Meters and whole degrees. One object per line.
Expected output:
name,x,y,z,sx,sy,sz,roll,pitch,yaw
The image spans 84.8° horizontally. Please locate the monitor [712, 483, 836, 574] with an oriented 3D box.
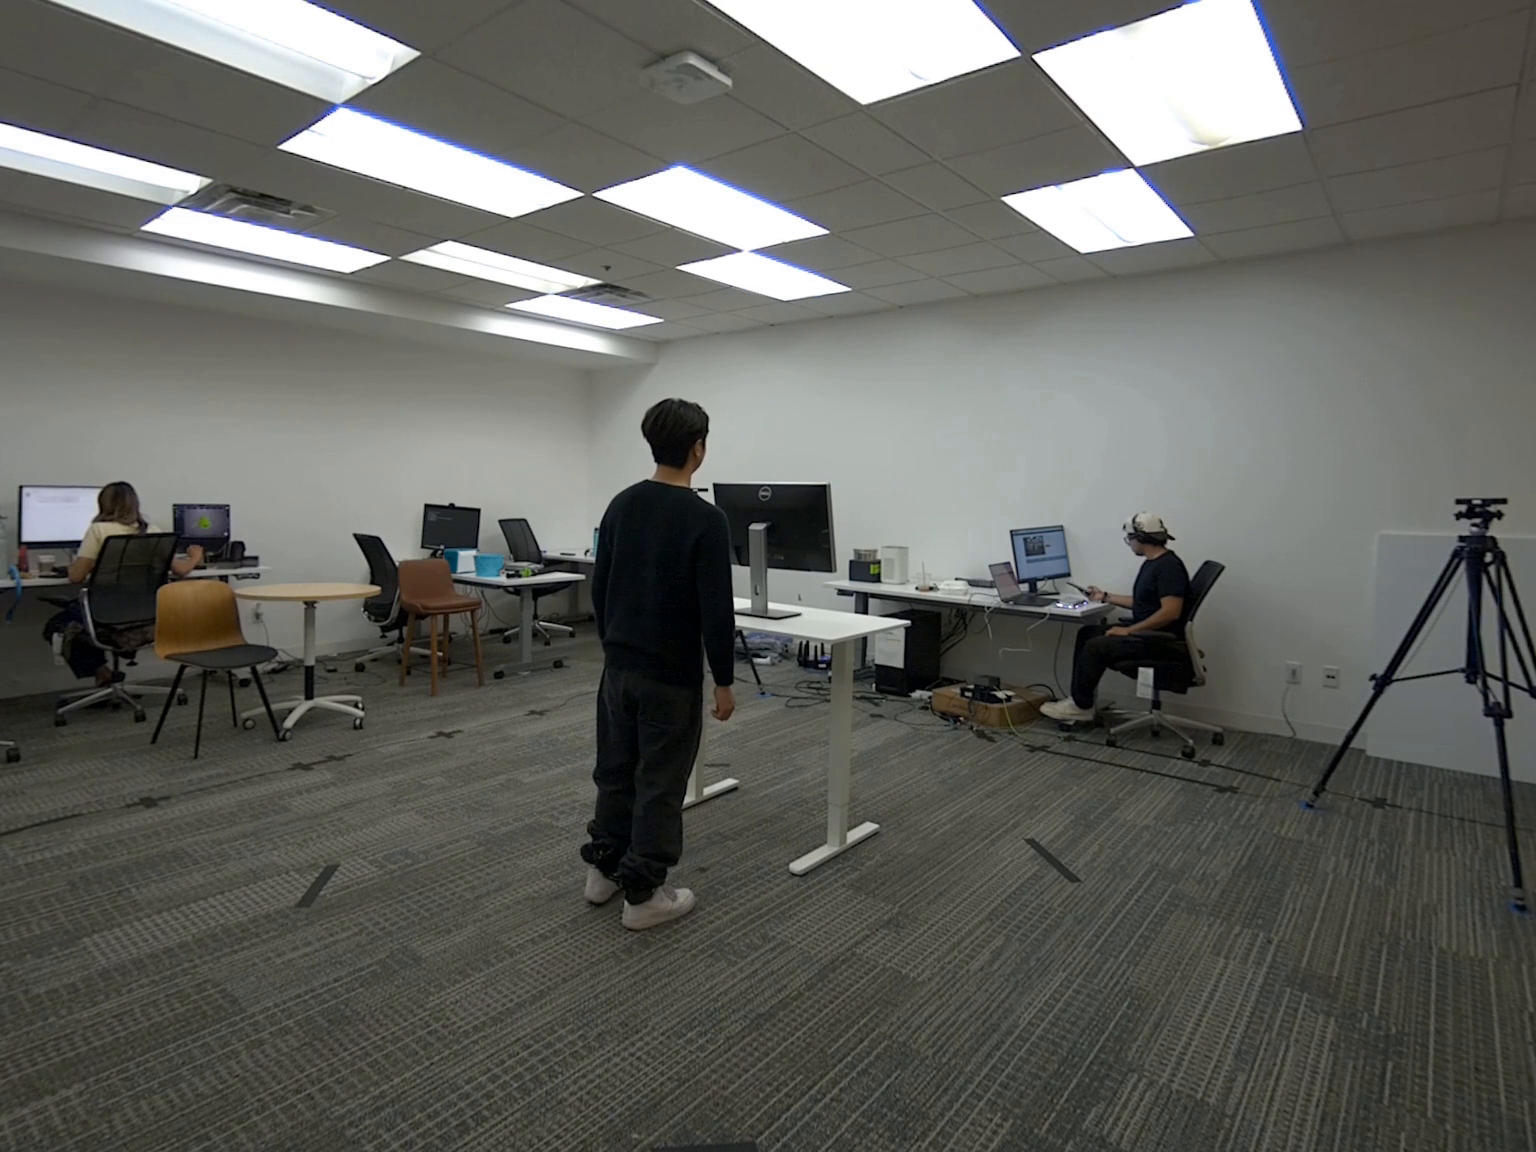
monitor,-0.009,-0.115,3.481,0.546,0.517,0.169,2,-3,34
